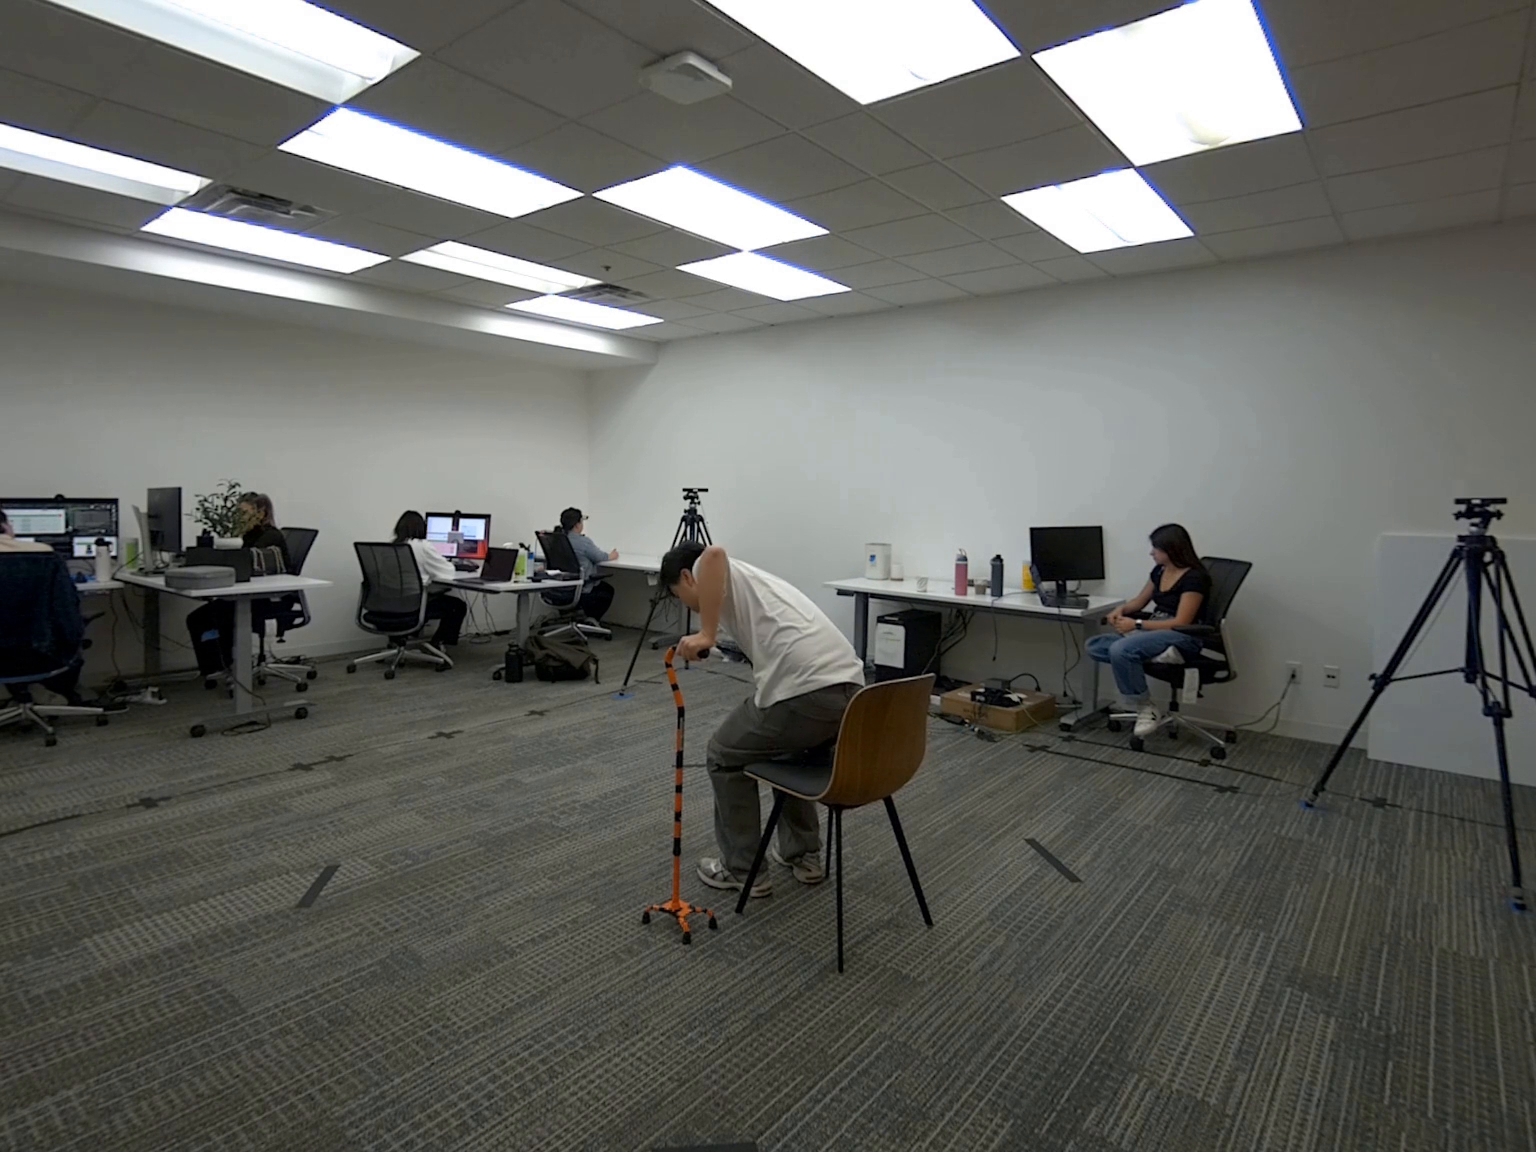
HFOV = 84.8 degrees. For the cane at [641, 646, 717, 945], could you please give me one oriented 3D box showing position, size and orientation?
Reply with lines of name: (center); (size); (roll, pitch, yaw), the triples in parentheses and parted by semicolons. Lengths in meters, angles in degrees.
cane: (-0.273, 0.649, 2.676); (0.213, 0.904, 0.147); (6, 6, 41)
